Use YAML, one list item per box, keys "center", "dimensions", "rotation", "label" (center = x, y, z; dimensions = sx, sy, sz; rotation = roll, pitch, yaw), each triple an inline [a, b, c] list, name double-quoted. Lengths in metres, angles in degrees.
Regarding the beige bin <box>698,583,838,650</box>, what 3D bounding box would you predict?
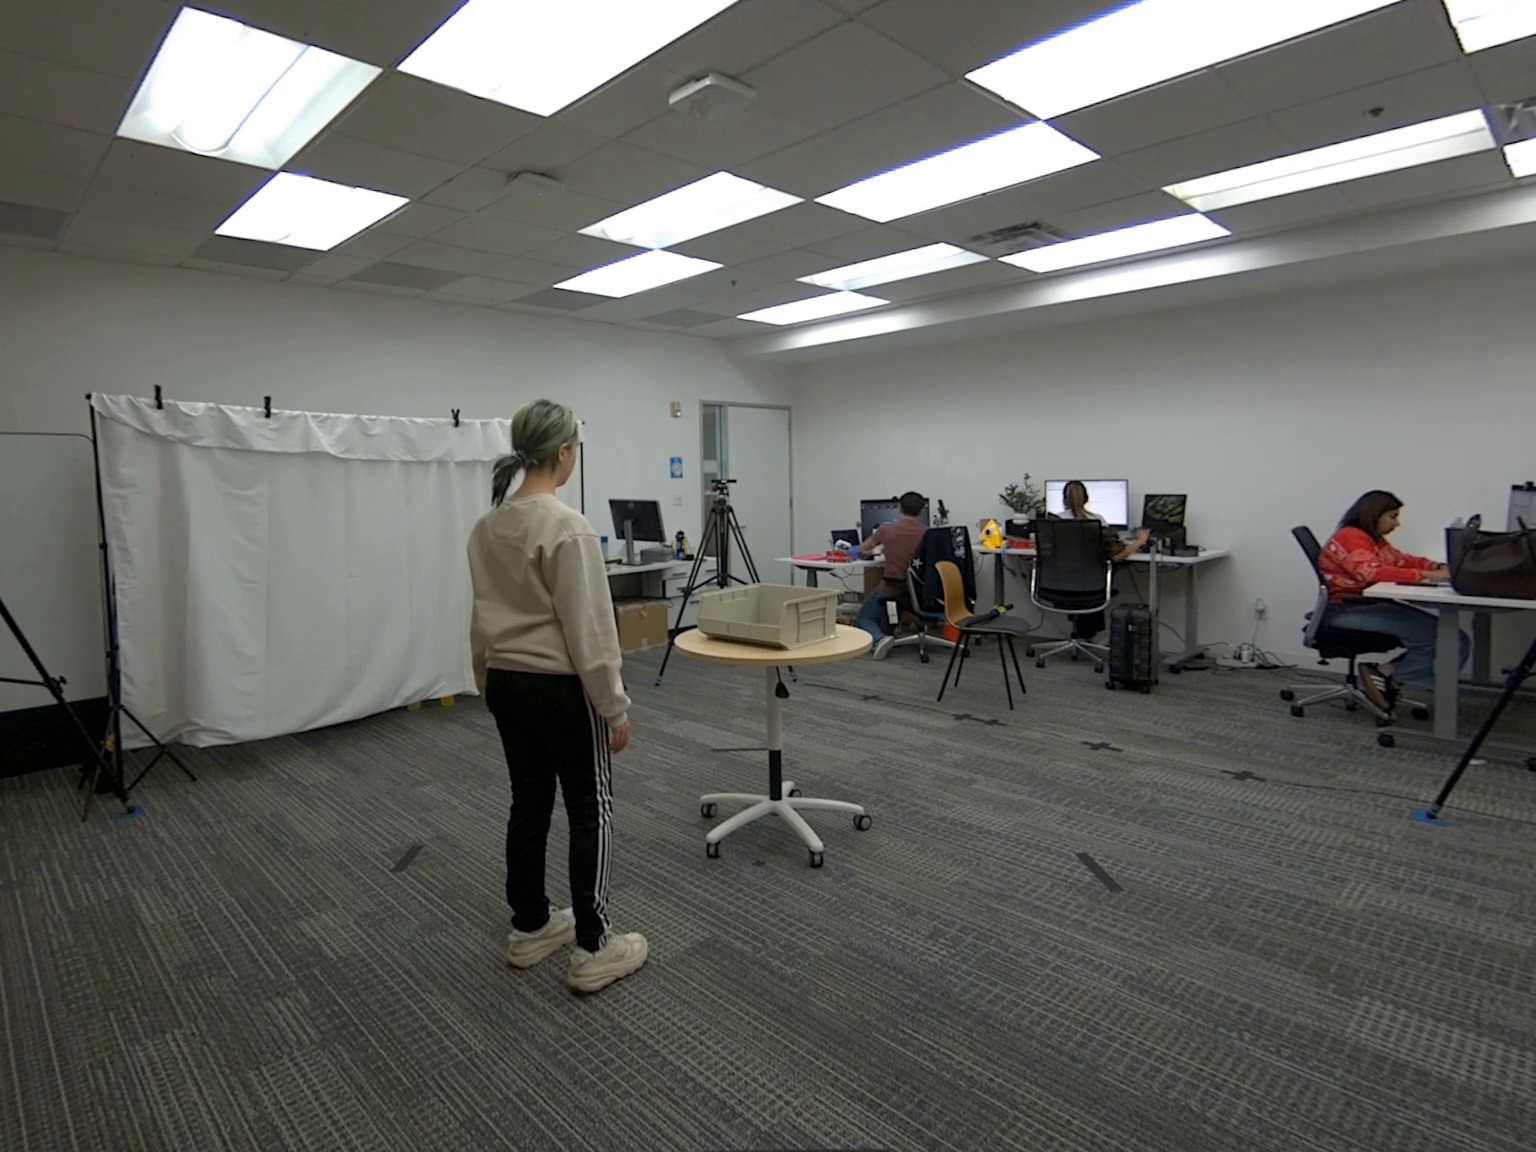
- center: [0.003, 0.153, 3.301]
  dimensions: [0.435, 0.188, 0.367]
  rotation: [4, 7, 41]
  label: "beige bin"
